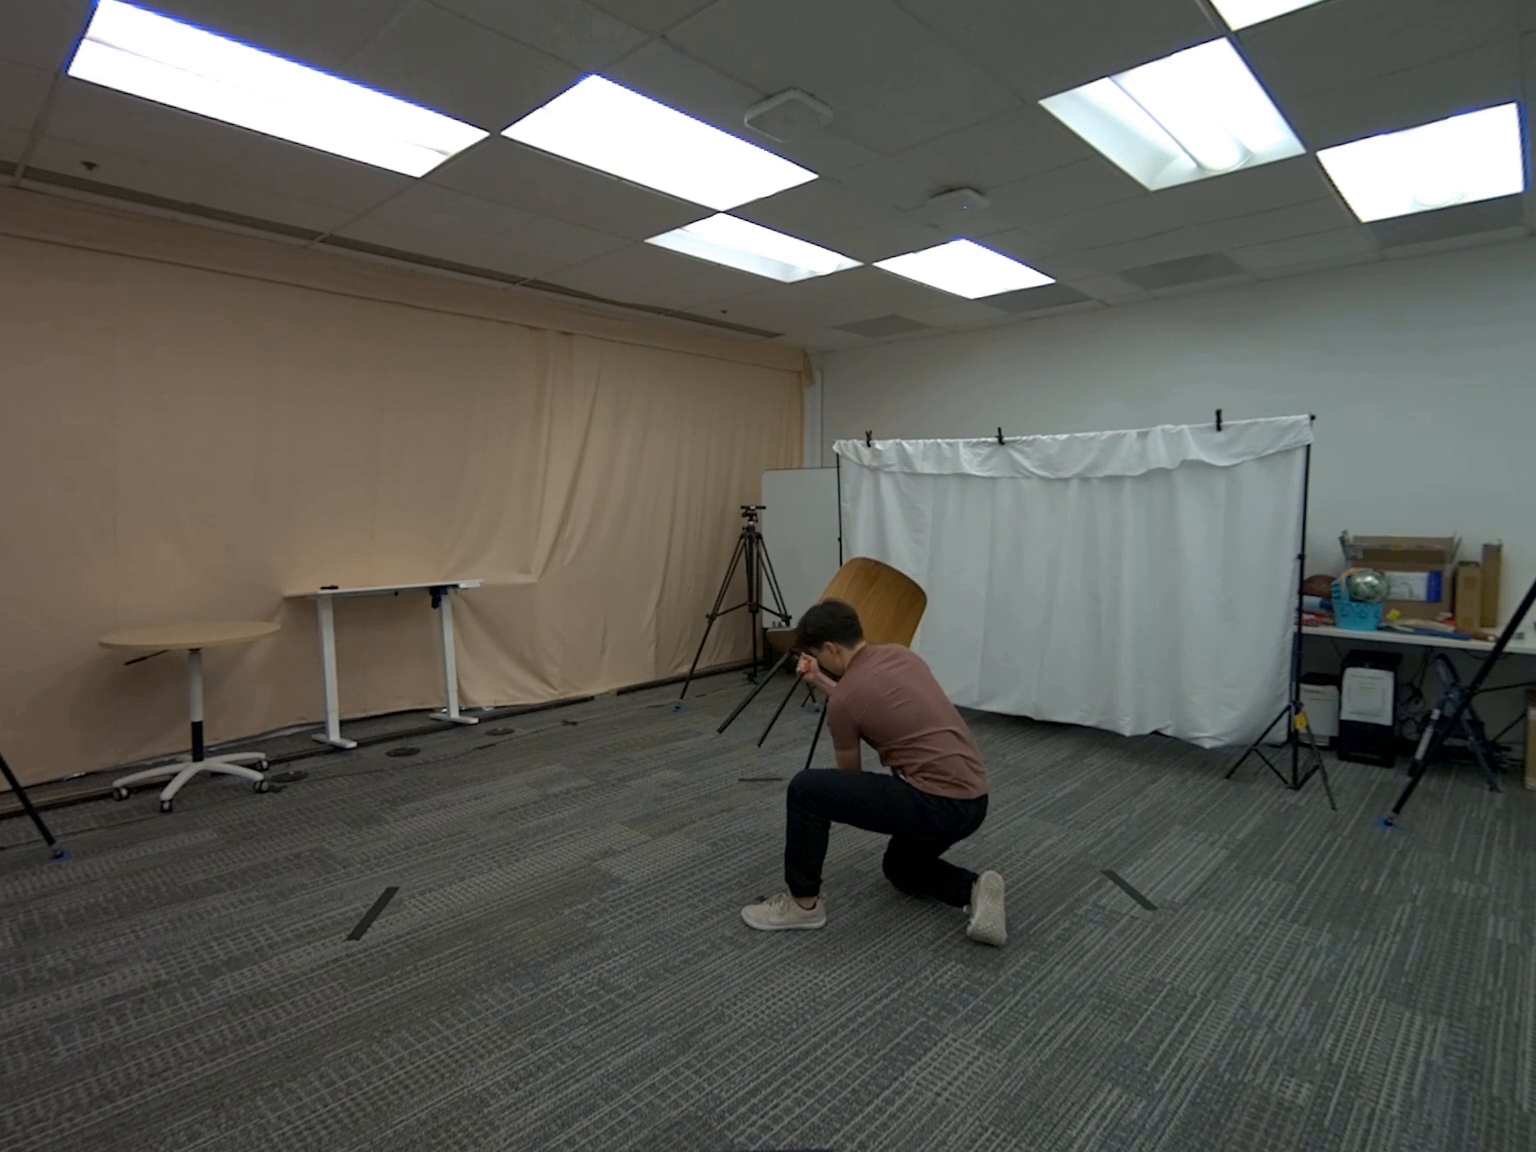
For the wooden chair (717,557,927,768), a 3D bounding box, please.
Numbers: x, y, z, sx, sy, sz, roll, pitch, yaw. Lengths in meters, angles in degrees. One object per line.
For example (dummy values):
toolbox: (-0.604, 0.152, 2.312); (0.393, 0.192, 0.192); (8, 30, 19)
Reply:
wooden chair: (0.236, 0.372, 3.432); (0.469, 0.878, 0.532); (30, -11, -16)
